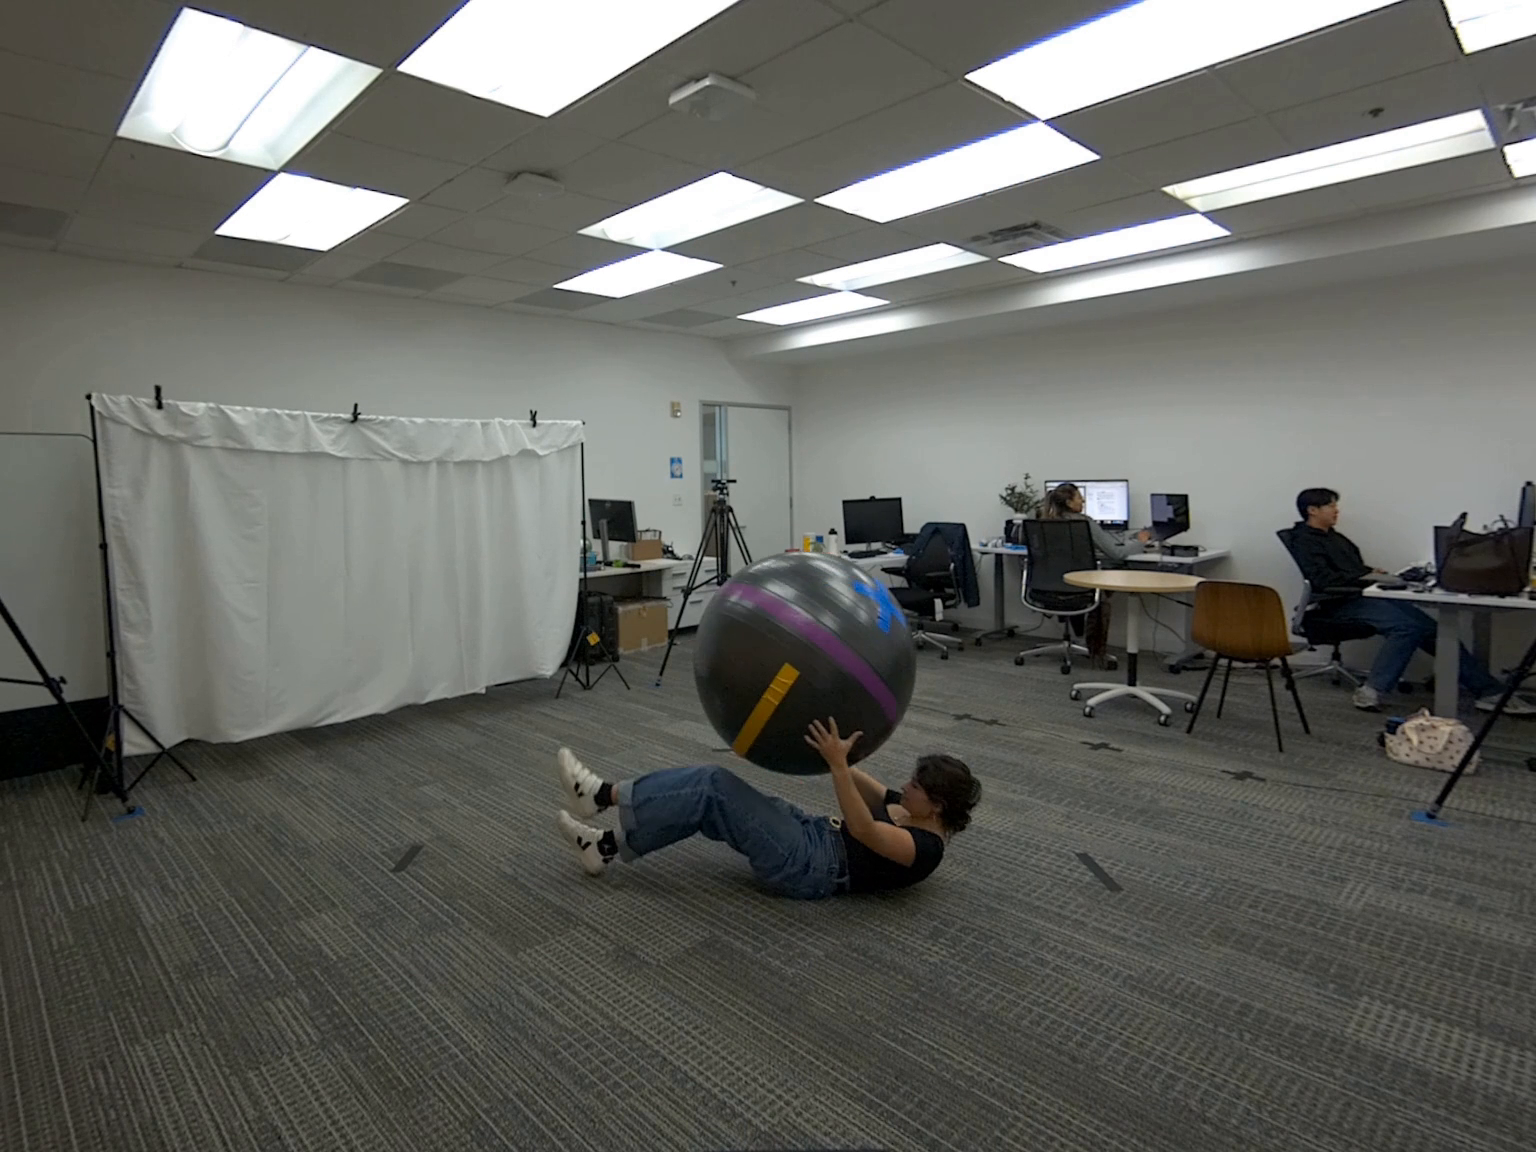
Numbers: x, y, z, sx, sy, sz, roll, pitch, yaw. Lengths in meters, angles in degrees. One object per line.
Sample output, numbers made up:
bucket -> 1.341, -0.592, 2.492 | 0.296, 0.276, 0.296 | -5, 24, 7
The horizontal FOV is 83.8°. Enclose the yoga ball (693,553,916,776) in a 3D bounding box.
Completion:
yoga ball -> 0.121, 0.292, 2.930 | 0.757, 0.755, 0.762 | -1, 5, -2
